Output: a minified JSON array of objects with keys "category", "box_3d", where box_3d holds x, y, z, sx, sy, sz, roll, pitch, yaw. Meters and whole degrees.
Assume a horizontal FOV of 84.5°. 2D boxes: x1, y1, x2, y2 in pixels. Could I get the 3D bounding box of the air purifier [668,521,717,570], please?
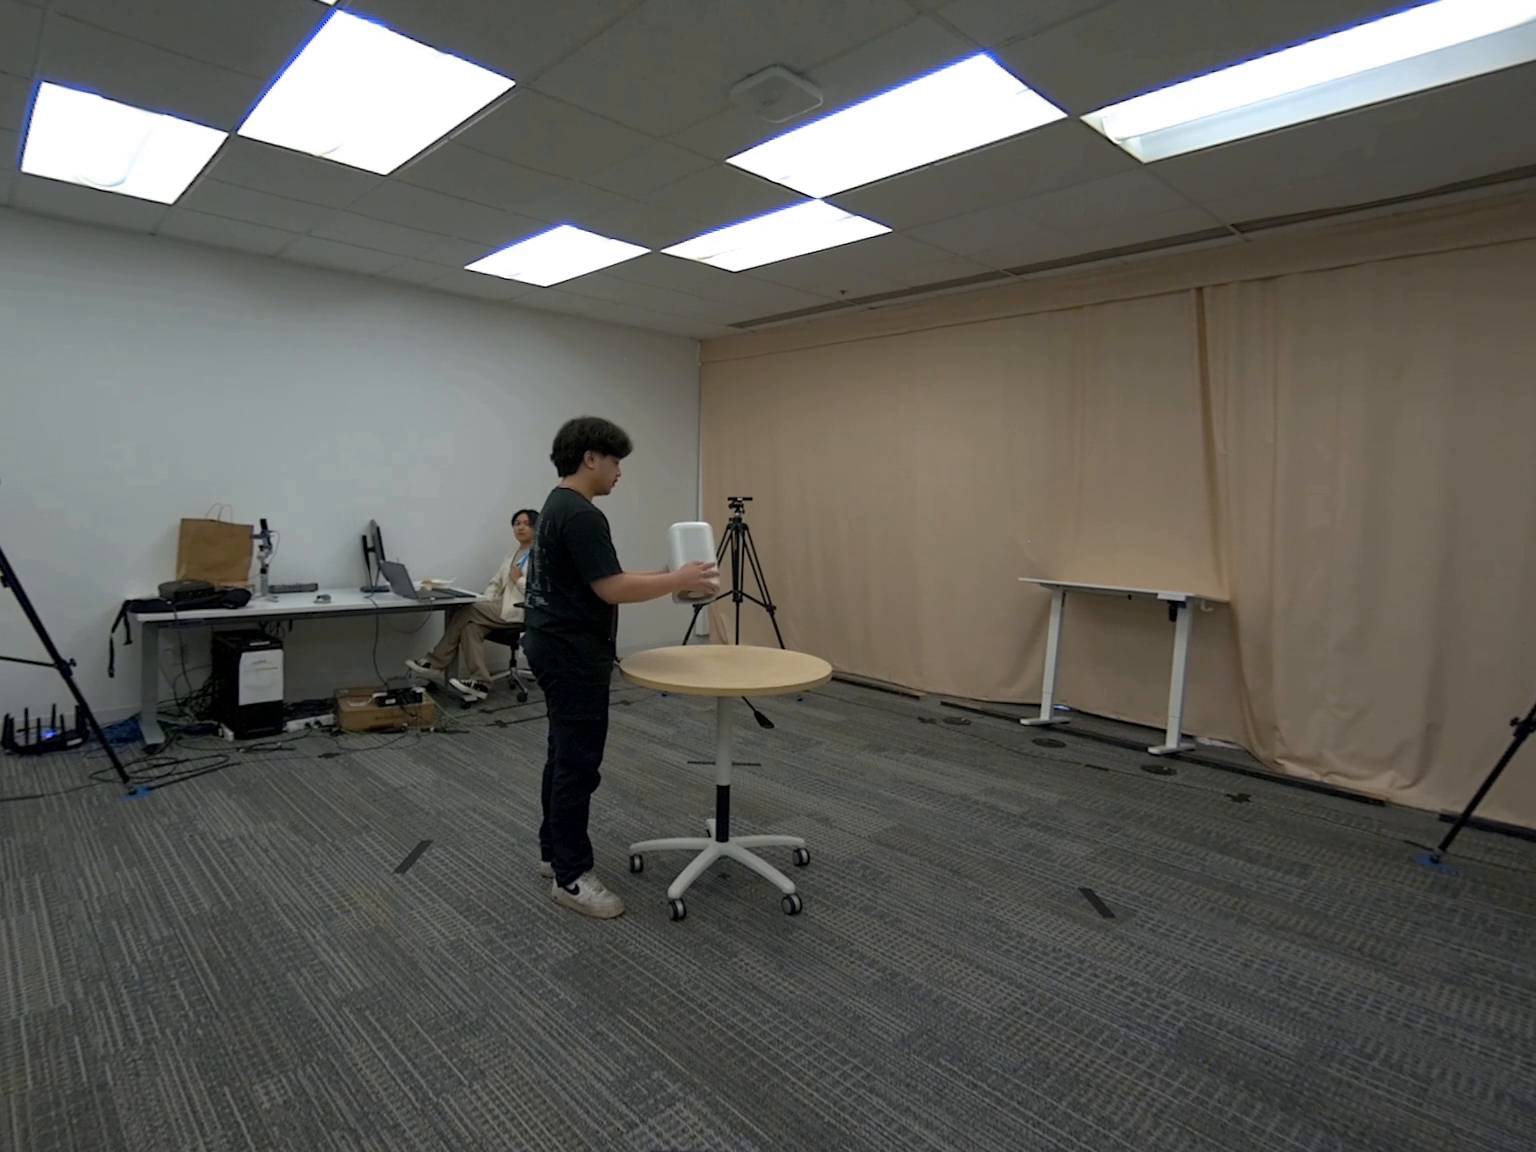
[{"category":"air purifier","box_3d":[-0.289,-0.052,3.105,0.170,0.270,0.169,-2,-24,-13]}]
